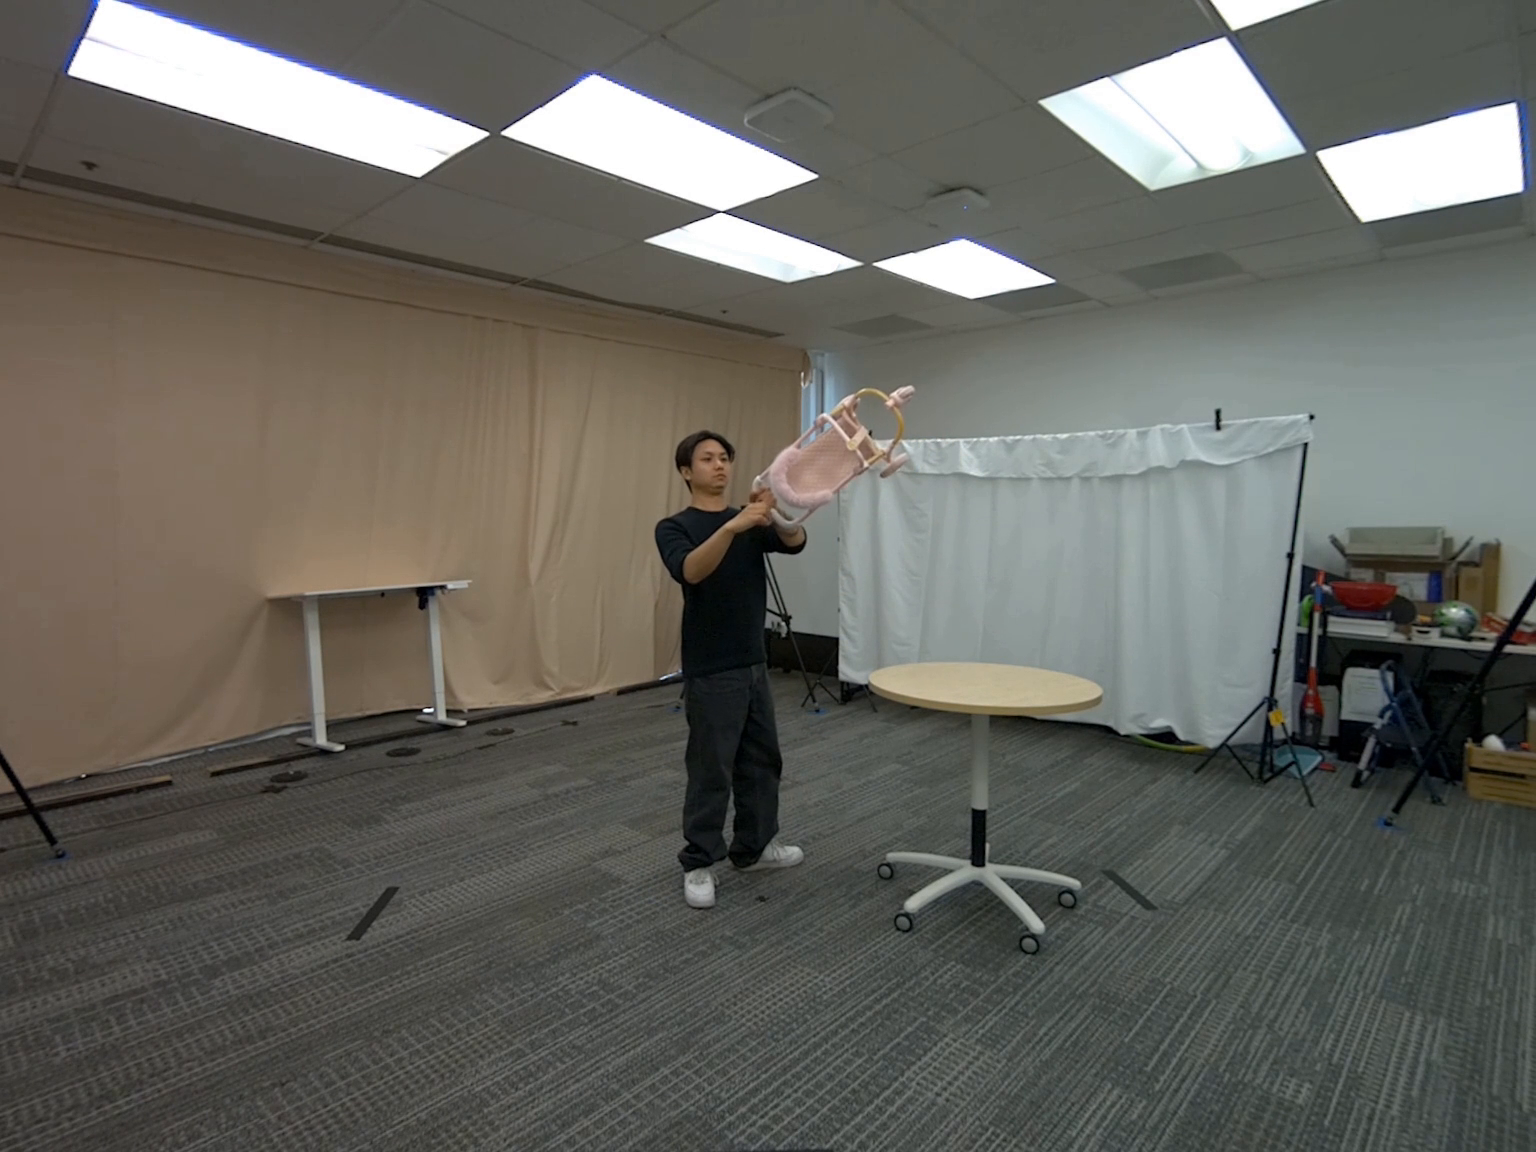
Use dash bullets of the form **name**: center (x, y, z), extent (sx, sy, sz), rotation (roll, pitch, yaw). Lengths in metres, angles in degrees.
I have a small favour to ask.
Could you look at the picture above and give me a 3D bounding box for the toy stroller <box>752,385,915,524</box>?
- **toy stroller**: center (0.218, -0.379, 2.605), extent (0.533, 0.283, 0.341), rotation (-36, -3, -6)
